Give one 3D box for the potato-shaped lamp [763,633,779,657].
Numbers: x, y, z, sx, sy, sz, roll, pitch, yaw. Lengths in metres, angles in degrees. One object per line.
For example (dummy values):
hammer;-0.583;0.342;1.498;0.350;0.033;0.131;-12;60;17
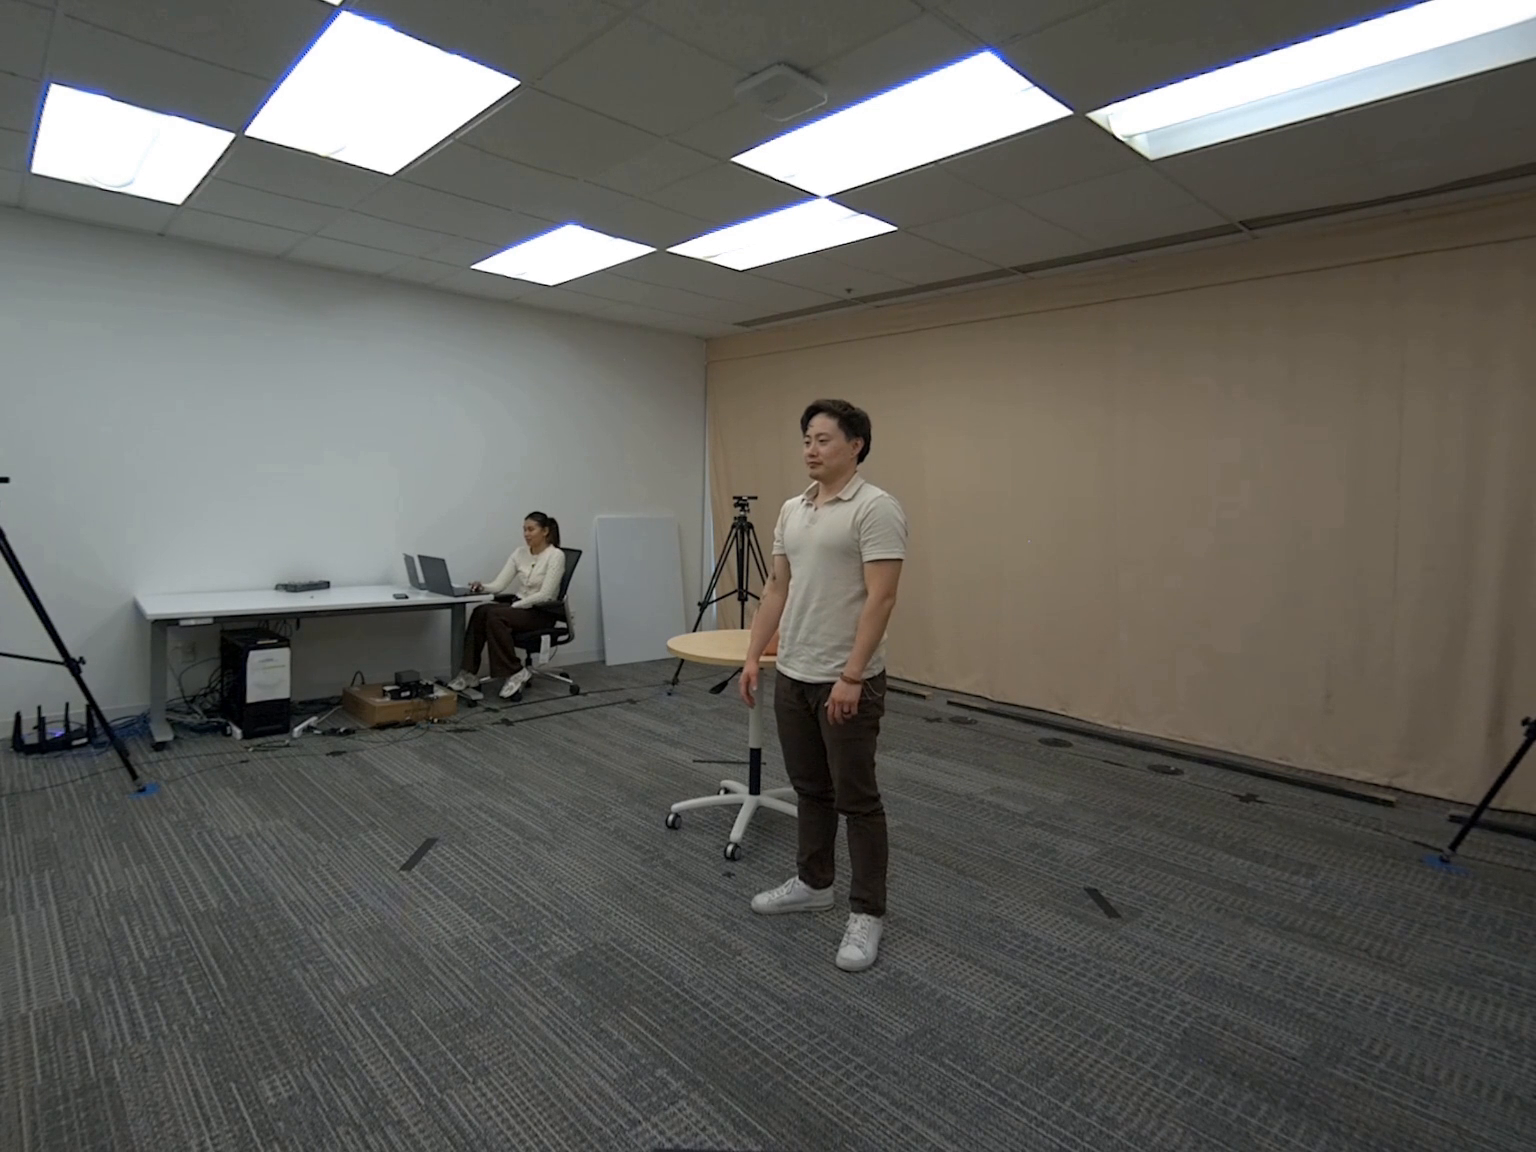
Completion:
potato-shaped lamp;0.010;0.206;3.329;0.163;0.198;0.173;2;1;-13
